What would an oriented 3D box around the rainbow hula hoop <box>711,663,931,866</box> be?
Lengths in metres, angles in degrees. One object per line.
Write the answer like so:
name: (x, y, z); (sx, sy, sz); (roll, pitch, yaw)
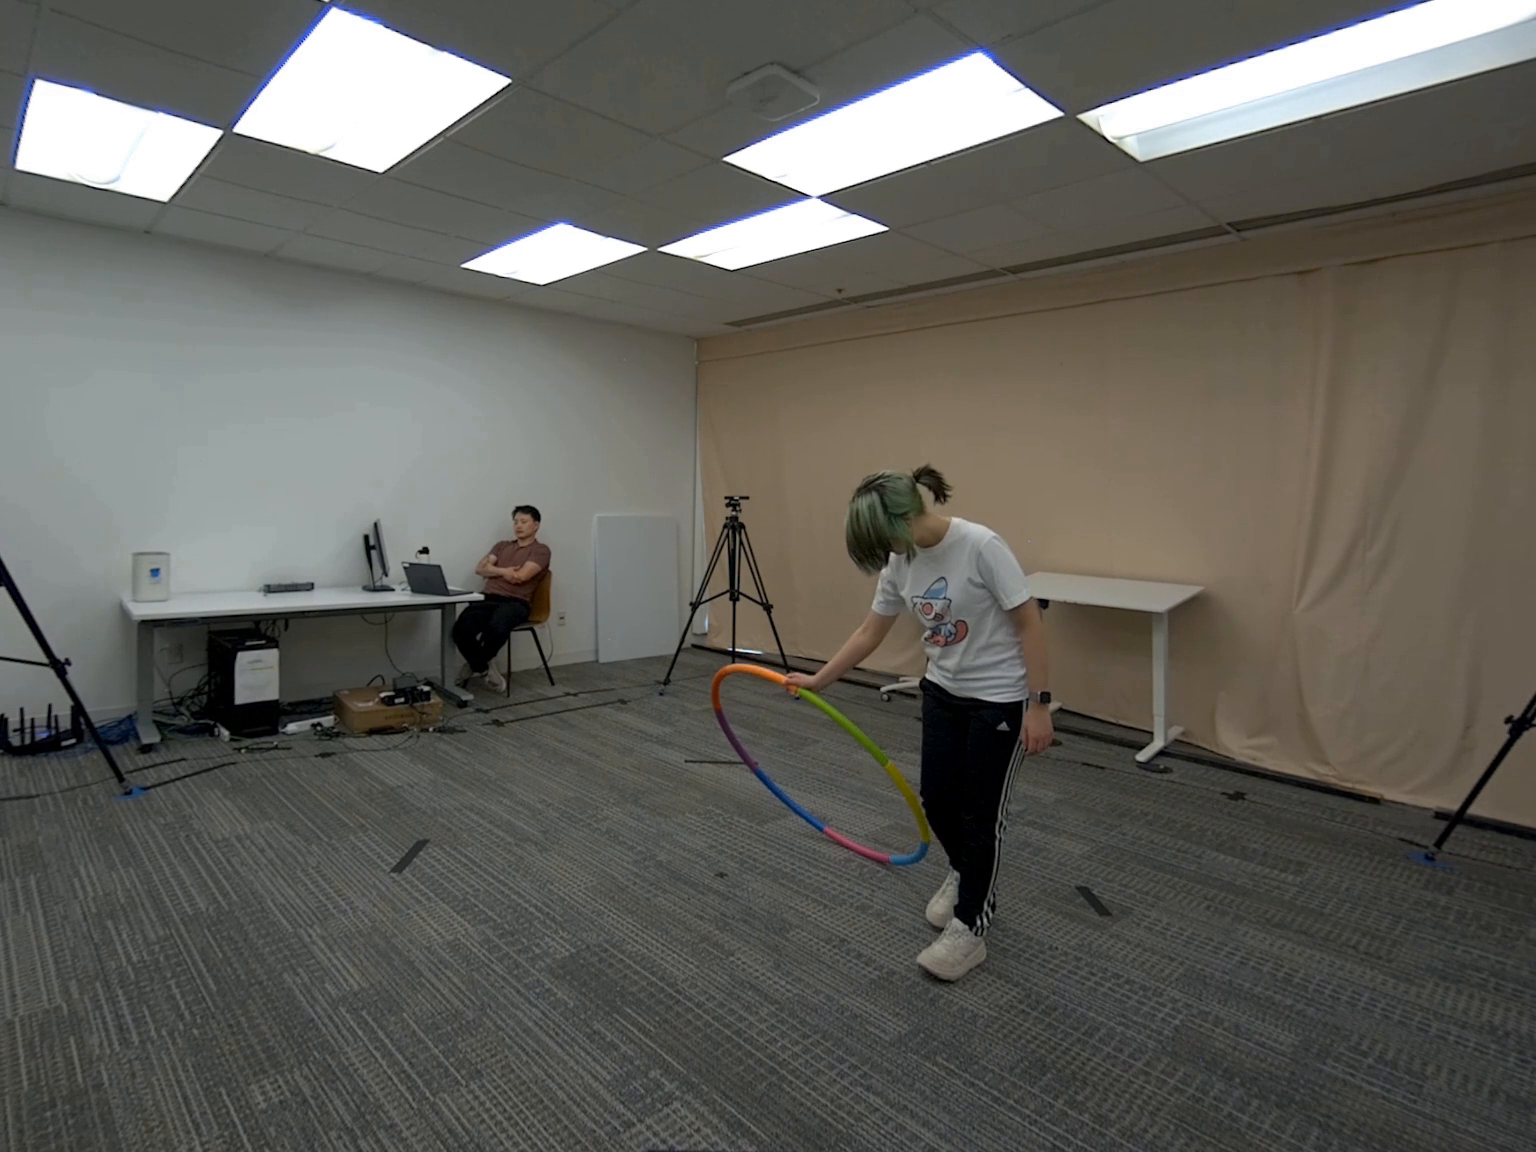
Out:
rainbow hula hoop: (0.161, 0.705, 3.140); (0.035, 0.956, 1.004); (-43, 29, -28)
